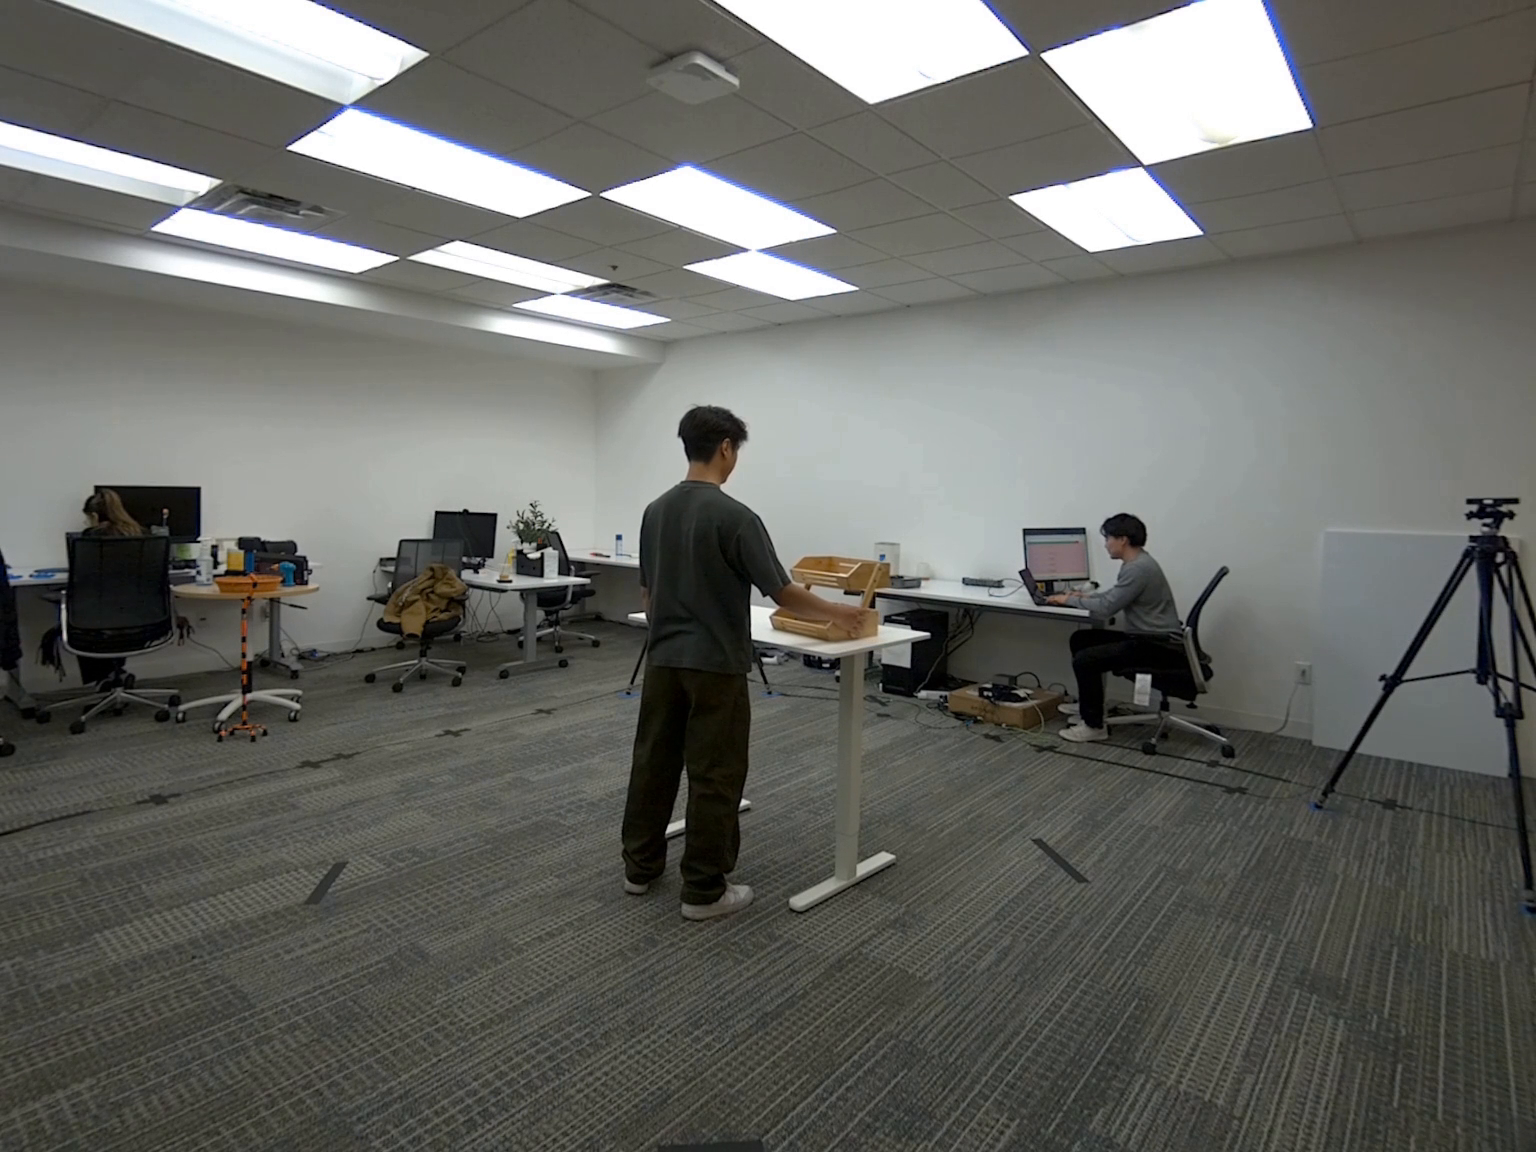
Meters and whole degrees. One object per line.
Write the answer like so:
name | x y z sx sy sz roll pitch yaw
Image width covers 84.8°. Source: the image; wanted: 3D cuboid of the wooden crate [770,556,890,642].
wooden crate | 0.207 0.067 3.059 0.293 0.272 0.335 -1 5 -38
